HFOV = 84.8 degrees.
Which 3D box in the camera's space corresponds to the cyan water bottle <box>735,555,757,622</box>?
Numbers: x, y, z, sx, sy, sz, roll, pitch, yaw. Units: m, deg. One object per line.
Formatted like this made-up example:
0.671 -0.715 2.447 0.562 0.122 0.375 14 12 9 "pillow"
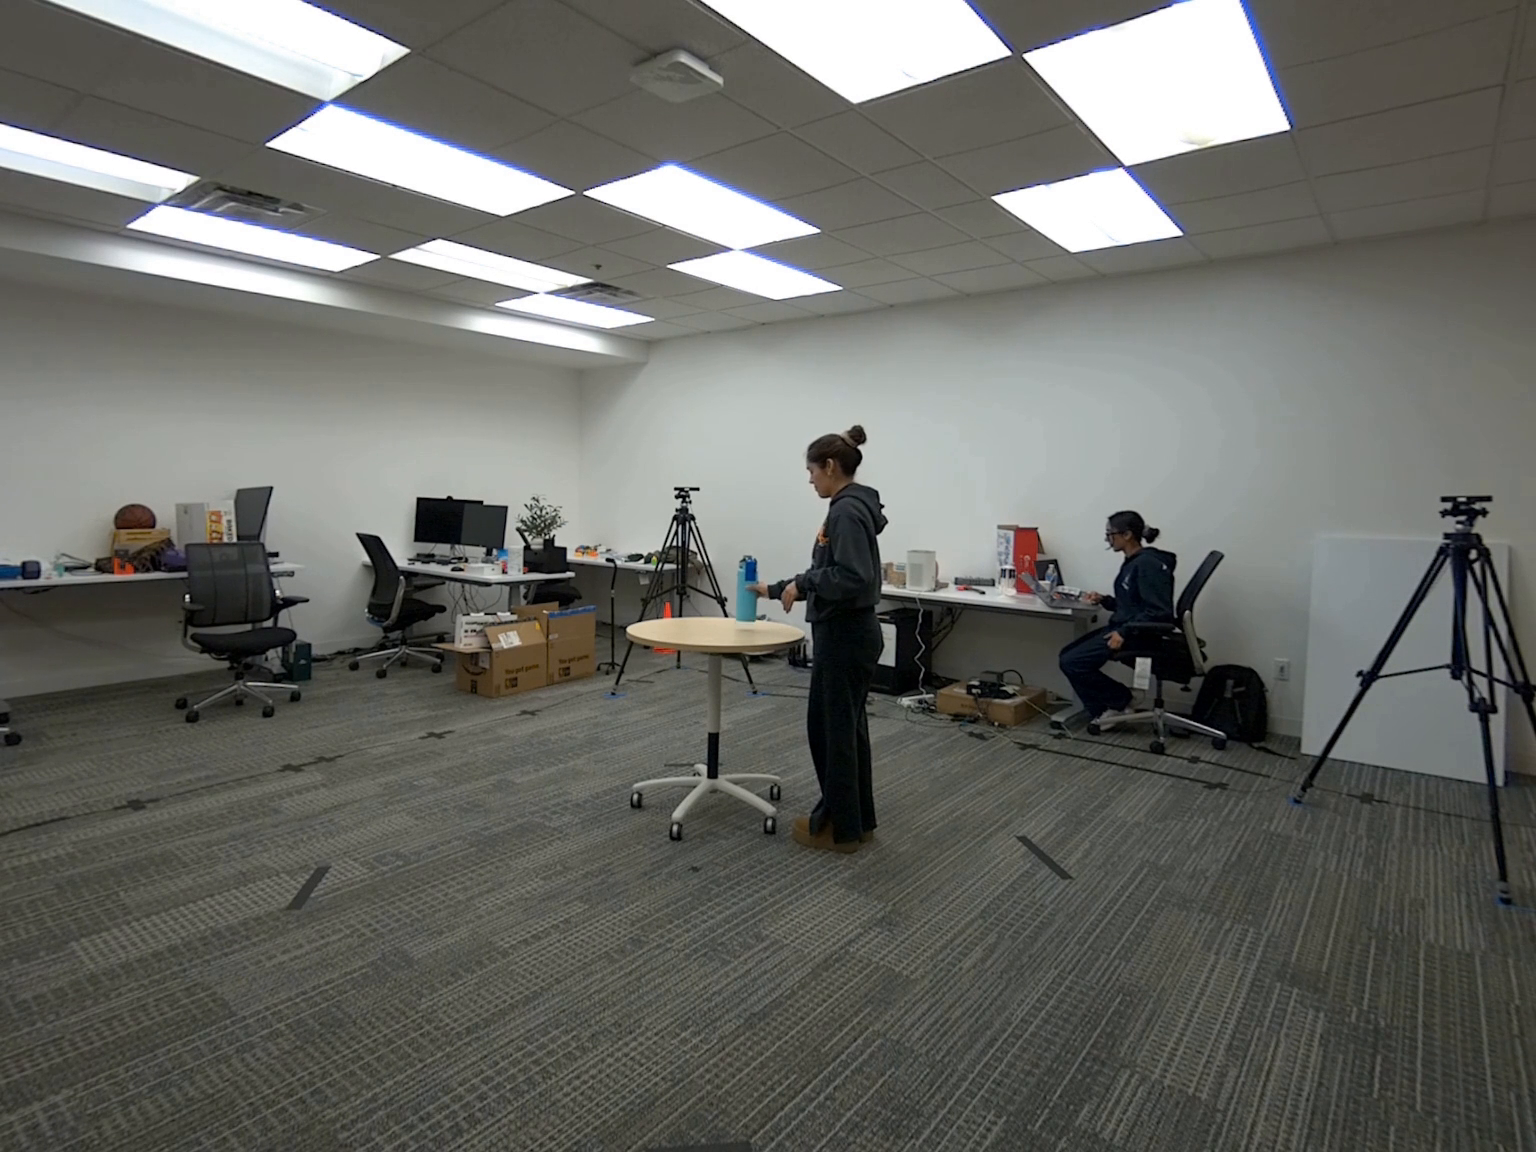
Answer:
-0.083 0.047 3.682 0.092 0.283 0.092 2 1 -2 "cyan water bottle"
